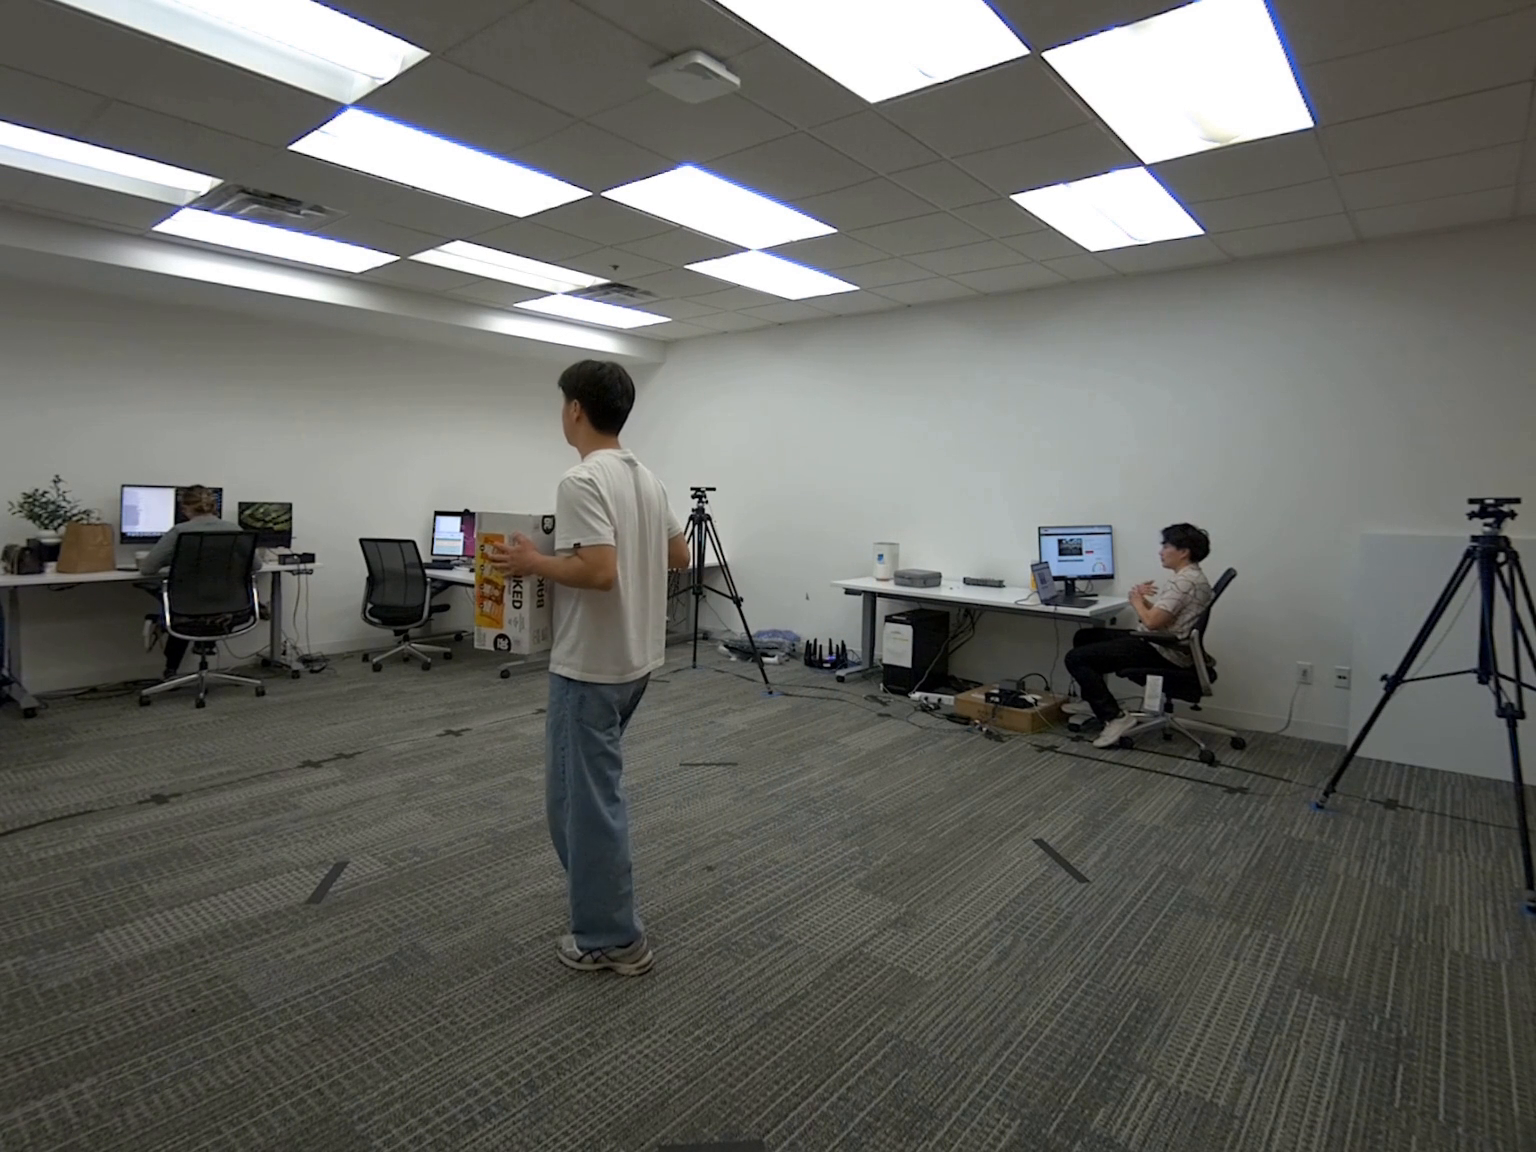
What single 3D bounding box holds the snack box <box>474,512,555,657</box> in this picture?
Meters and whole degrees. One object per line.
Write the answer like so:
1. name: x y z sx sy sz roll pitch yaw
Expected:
1. snack box: -0.726 0.002 2.617 0.210 0.403 0.334 4 5 21
